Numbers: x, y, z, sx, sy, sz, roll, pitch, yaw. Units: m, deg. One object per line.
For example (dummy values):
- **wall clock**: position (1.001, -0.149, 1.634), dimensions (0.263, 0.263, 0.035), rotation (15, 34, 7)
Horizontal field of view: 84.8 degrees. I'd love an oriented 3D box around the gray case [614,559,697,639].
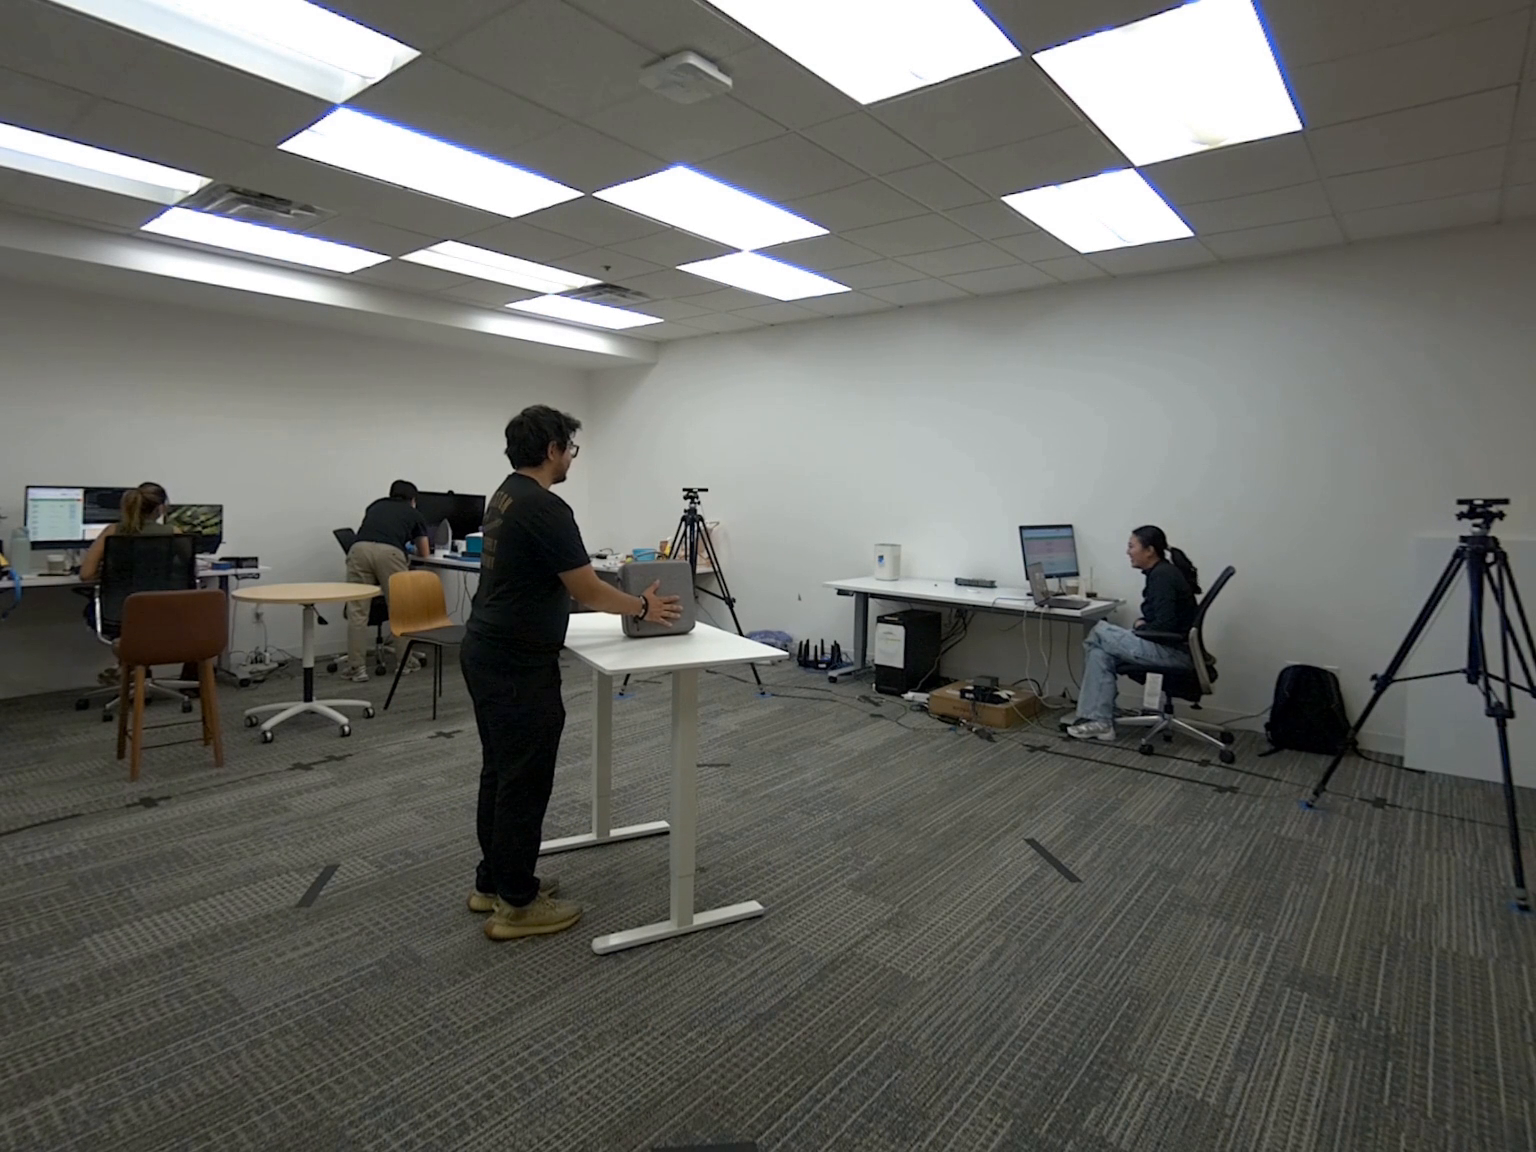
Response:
- **gray case**: position (-0.396, 0.071, 2.940), dimensions (0.251, 0.262, 0.106), rotation (-2, -6, -24)
